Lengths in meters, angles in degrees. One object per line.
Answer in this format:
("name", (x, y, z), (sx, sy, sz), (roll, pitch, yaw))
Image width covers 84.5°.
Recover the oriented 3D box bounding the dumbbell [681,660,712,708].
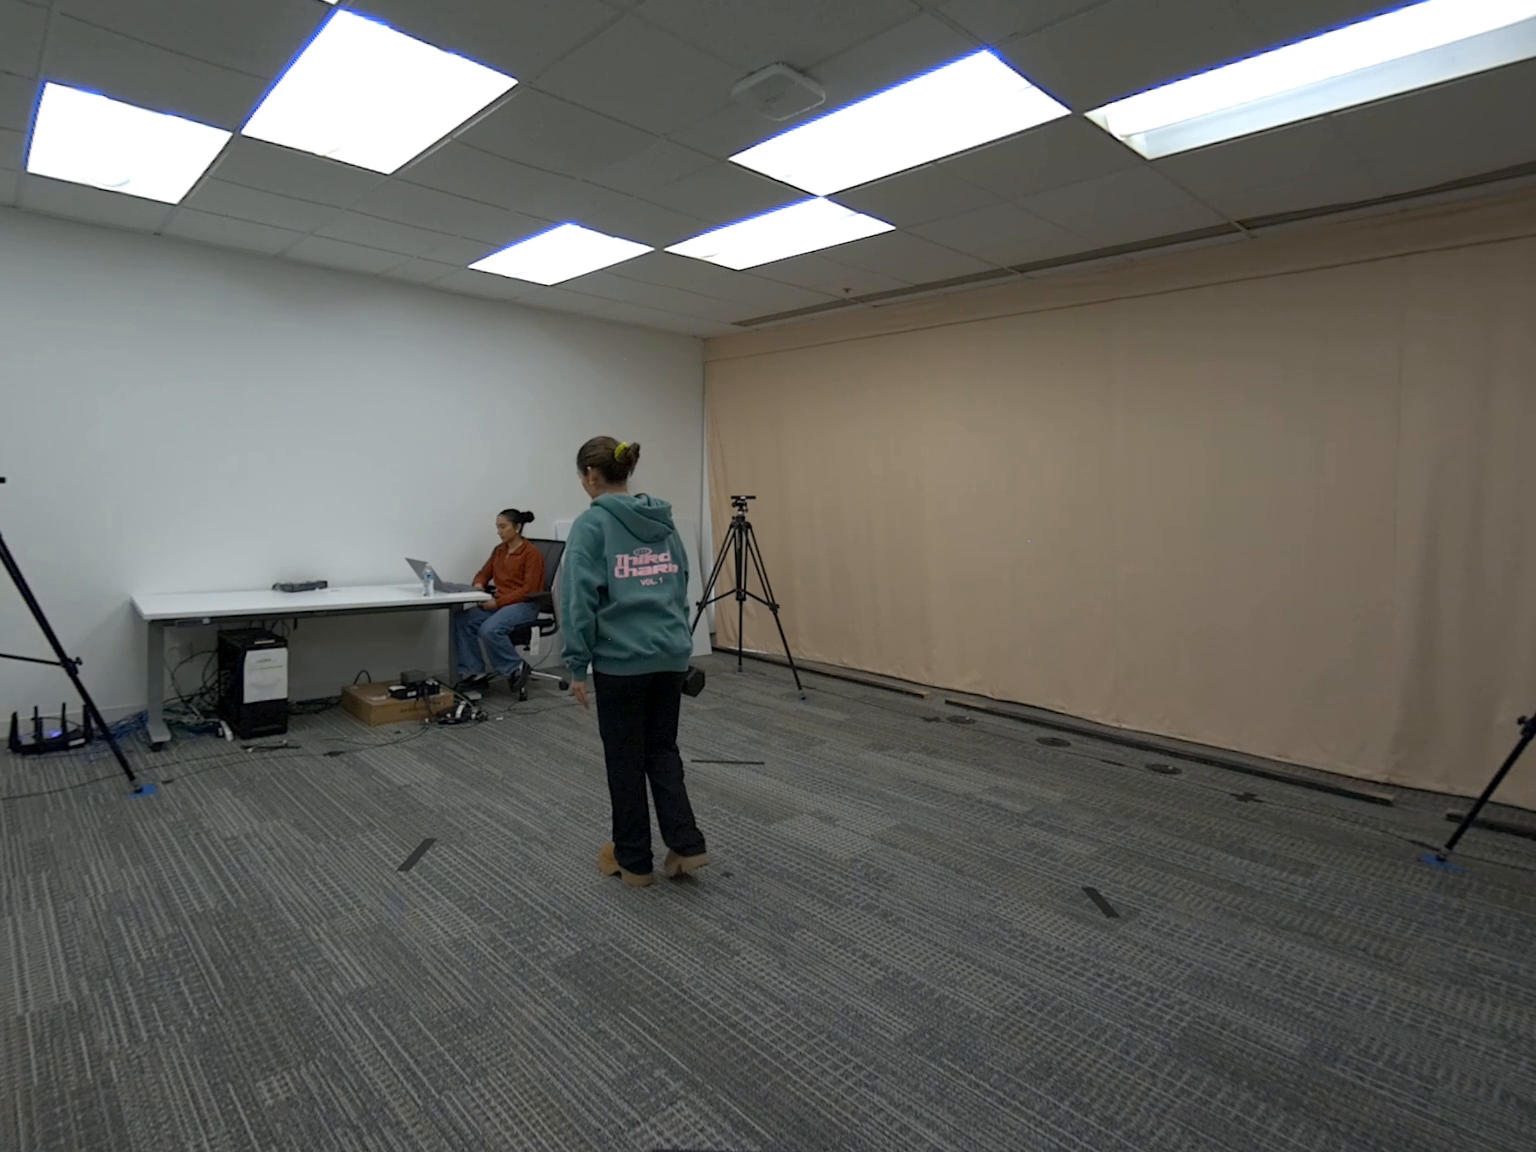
("dumbbell", (-0.381, 0.379, 3.228), (0.302, 0.106, 0.123), (13, 49, 39))
